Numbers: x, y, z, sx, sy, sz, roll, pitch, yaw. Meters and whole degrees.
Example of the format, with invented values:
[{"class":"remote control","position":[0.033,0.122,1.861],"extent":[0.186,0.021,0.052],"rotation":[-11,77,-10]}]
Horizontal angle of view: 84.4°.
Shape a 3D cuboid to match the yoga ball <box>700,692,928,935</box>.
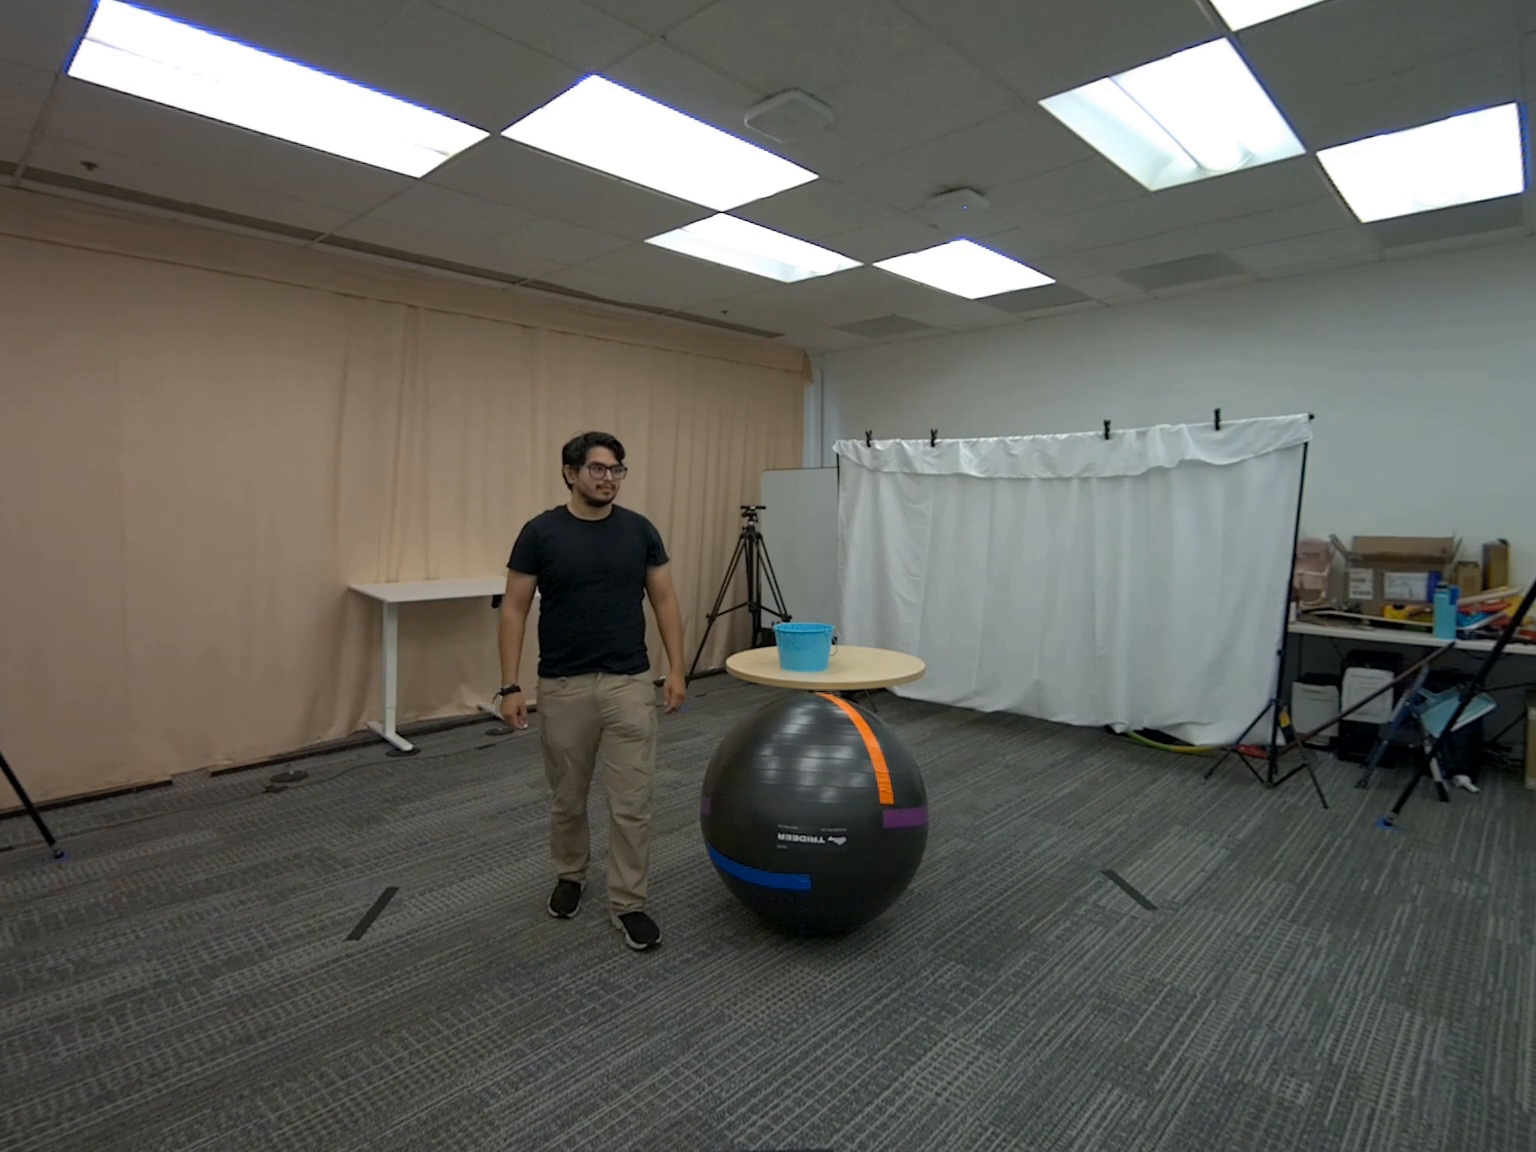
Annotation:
[{"class":"yoga ball","position":[0.151,0.789,2.824],"extent":[0.757,0.756,0.760],"rotation":[0,4,-2]}]
